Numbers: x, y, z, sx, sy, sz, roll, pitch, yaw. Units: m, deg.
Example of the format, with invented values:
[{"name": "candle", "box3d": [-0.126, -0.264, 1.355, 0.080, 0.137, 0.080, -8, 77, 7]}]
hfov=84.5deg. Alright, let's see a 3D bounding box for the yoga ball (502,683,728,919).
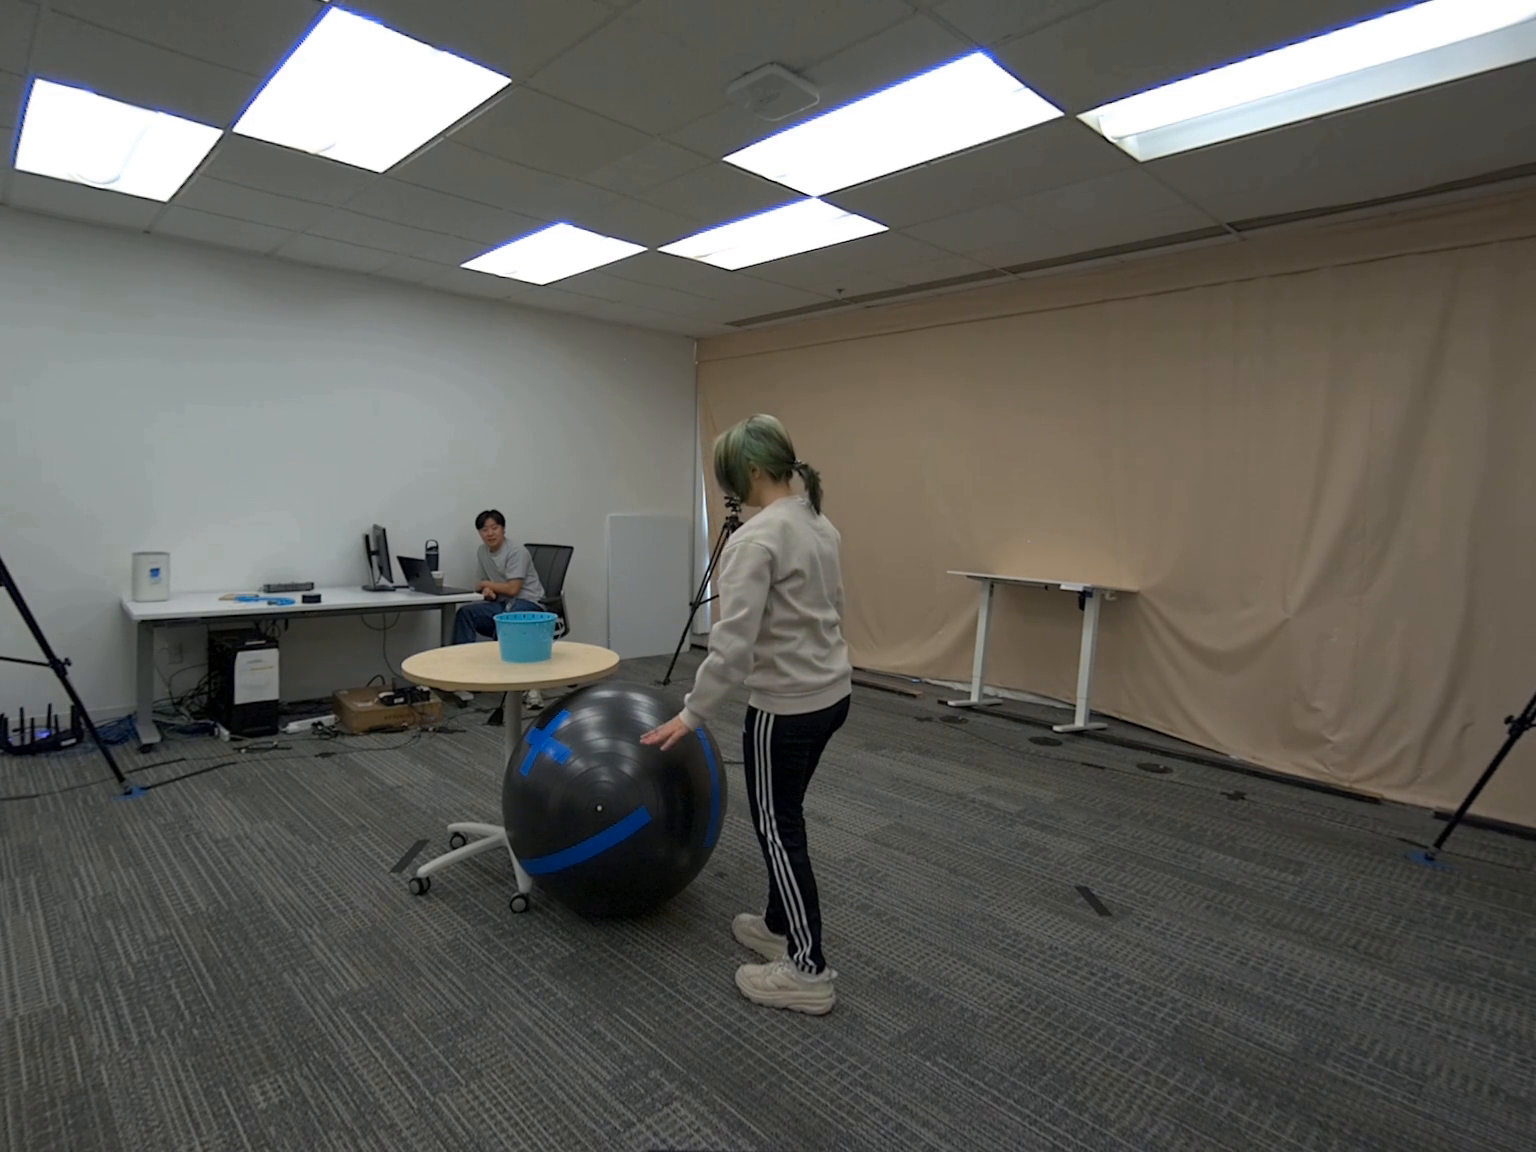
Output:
[{"name": "yoga ball", "box3d": [-0.518, 0.747, 2.867, 0.757, 0.756, 0.761, 1, 4, -1]}]
